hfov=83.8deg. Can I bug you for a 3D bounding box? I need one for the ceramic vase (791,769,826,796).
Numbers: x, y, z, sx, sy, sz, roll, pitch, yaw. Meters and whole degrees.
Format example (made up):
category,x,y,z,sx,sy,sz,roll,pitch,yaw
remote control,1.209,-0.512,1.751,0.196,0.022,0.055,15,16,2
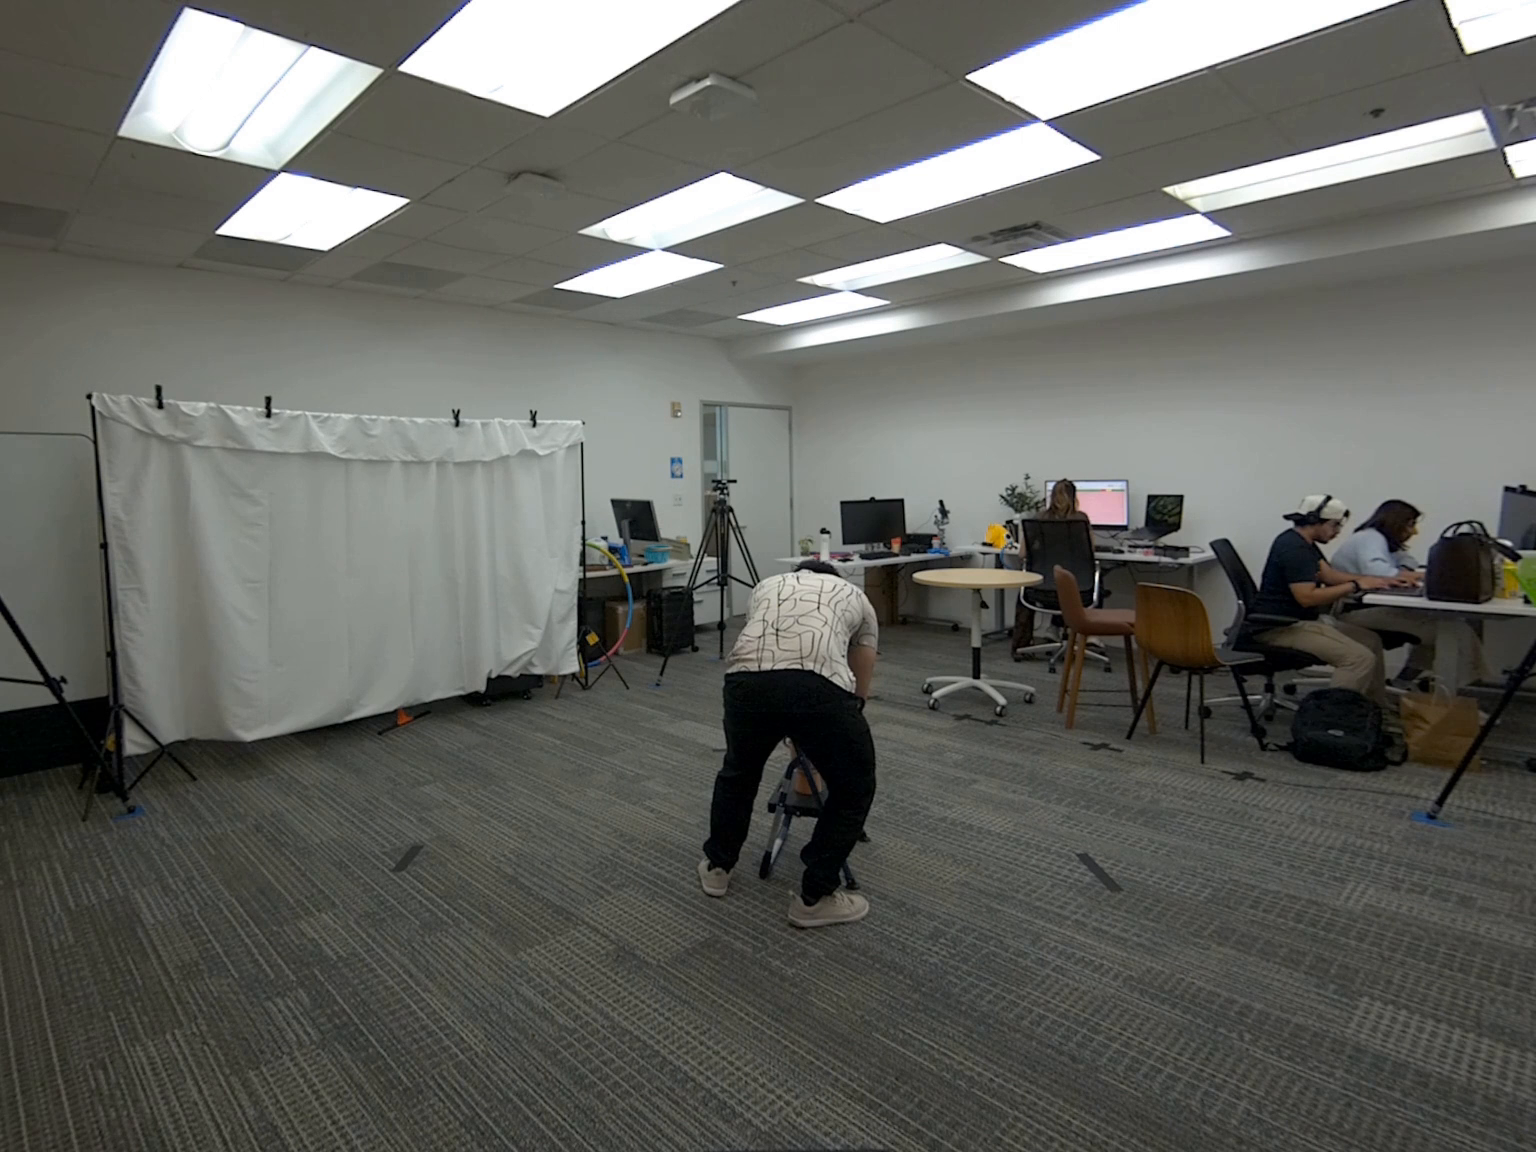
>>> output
category,x,y,z,sx,sy,sz,roll,pitch,yaw
ceramic vase,0.149,0.662,3.115,0.131,0.219,0.163,-5,6,-30
